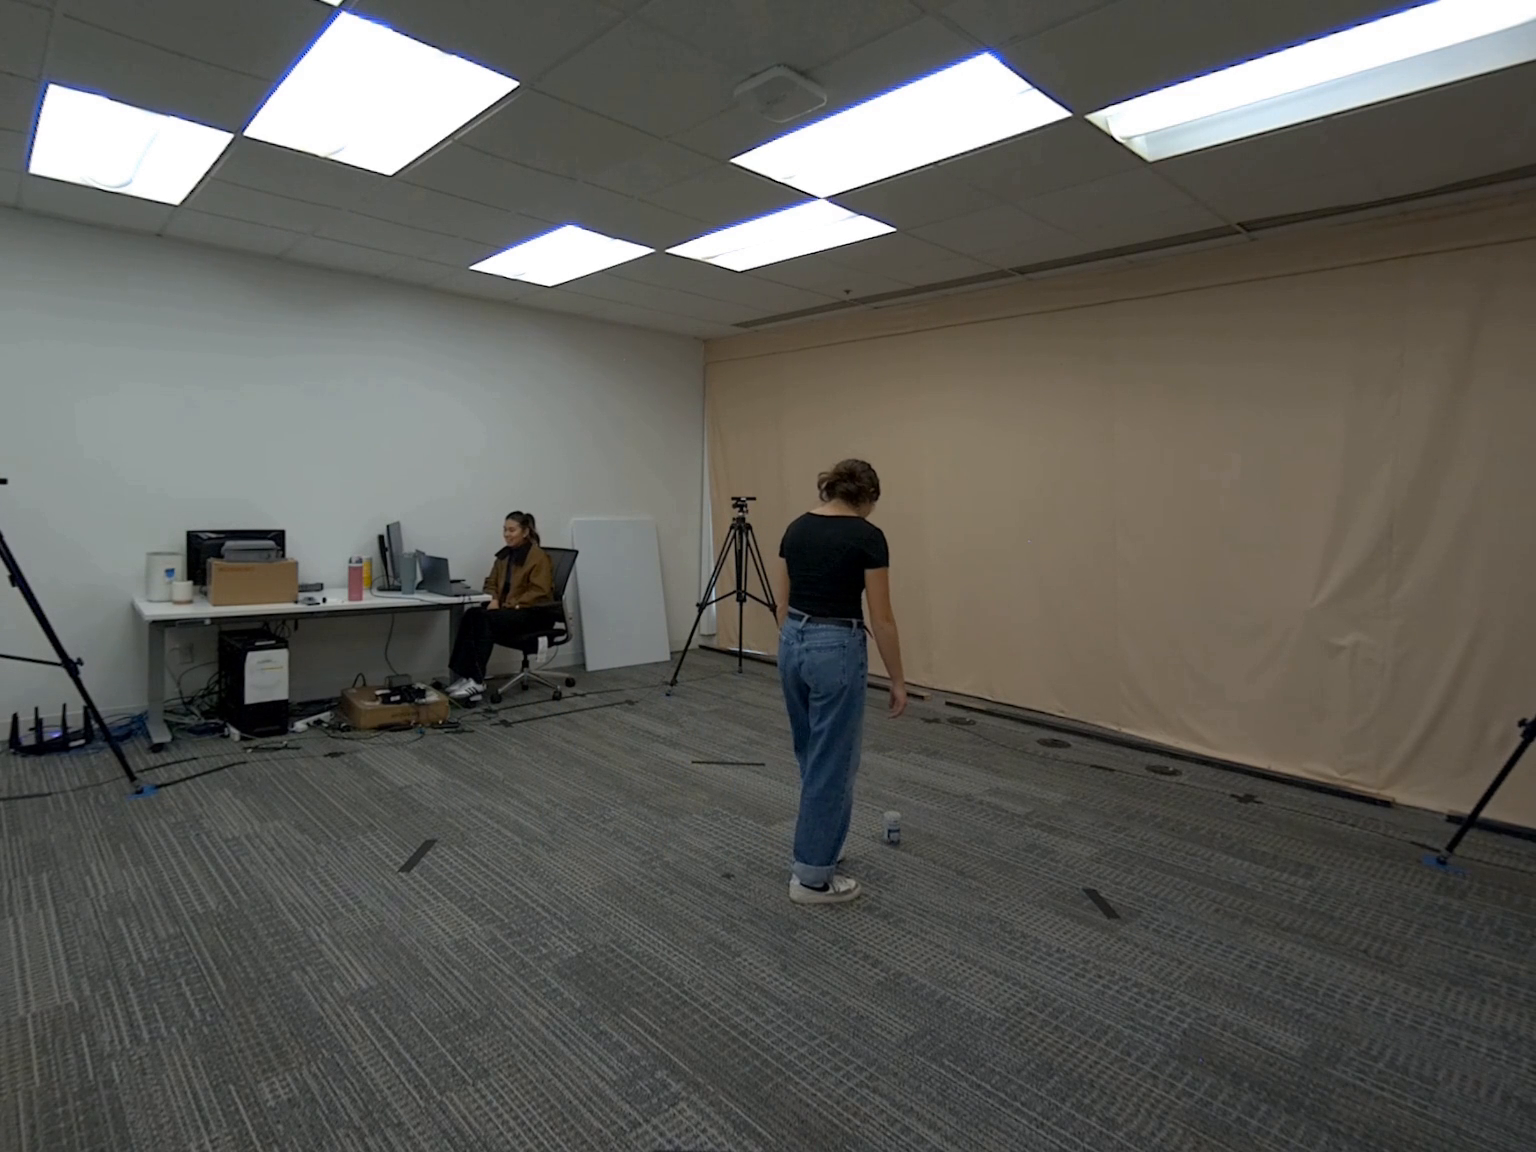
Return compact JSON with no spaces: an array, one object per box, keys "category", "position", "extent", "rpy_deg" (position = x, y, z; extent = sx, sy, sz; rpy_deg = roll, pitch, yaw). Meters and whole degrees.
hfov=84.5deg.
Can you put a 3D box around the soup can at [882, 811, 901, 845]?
[{"category":"soup can","position":[0.502,1.033,3.449],"extent":[0.067,0.121,0.067],"rpy_deg":[3,3,-2]}]
